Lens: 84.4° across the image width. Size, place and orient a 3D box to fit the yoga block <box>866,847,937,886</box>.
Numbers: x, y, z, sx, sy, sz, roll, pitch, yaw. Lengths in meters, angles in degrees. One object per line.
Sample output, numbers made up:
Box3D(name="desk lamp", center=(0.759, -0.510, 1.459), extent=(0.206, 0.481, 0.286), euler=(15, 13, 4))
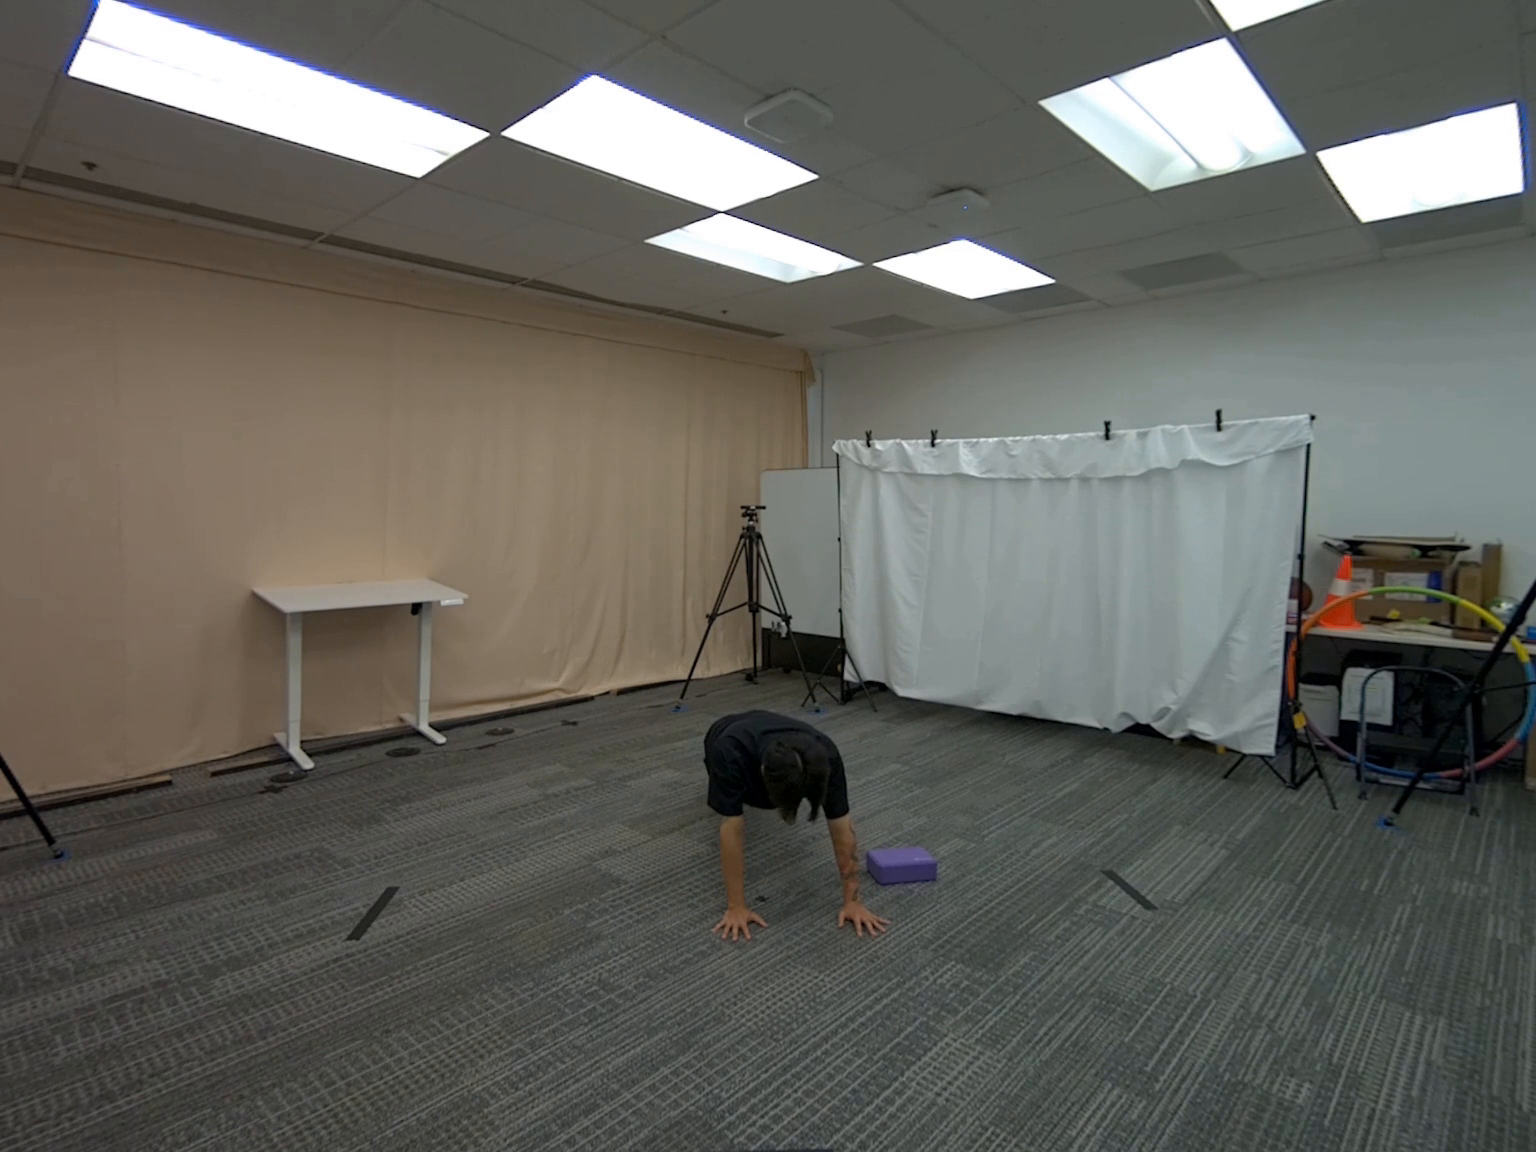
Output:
Box3D(name="yoga block", center=(0.507, 1.085, 3.164), extent=(0.227, 0.076, 0.151), euler=(-2, 4, -11))
